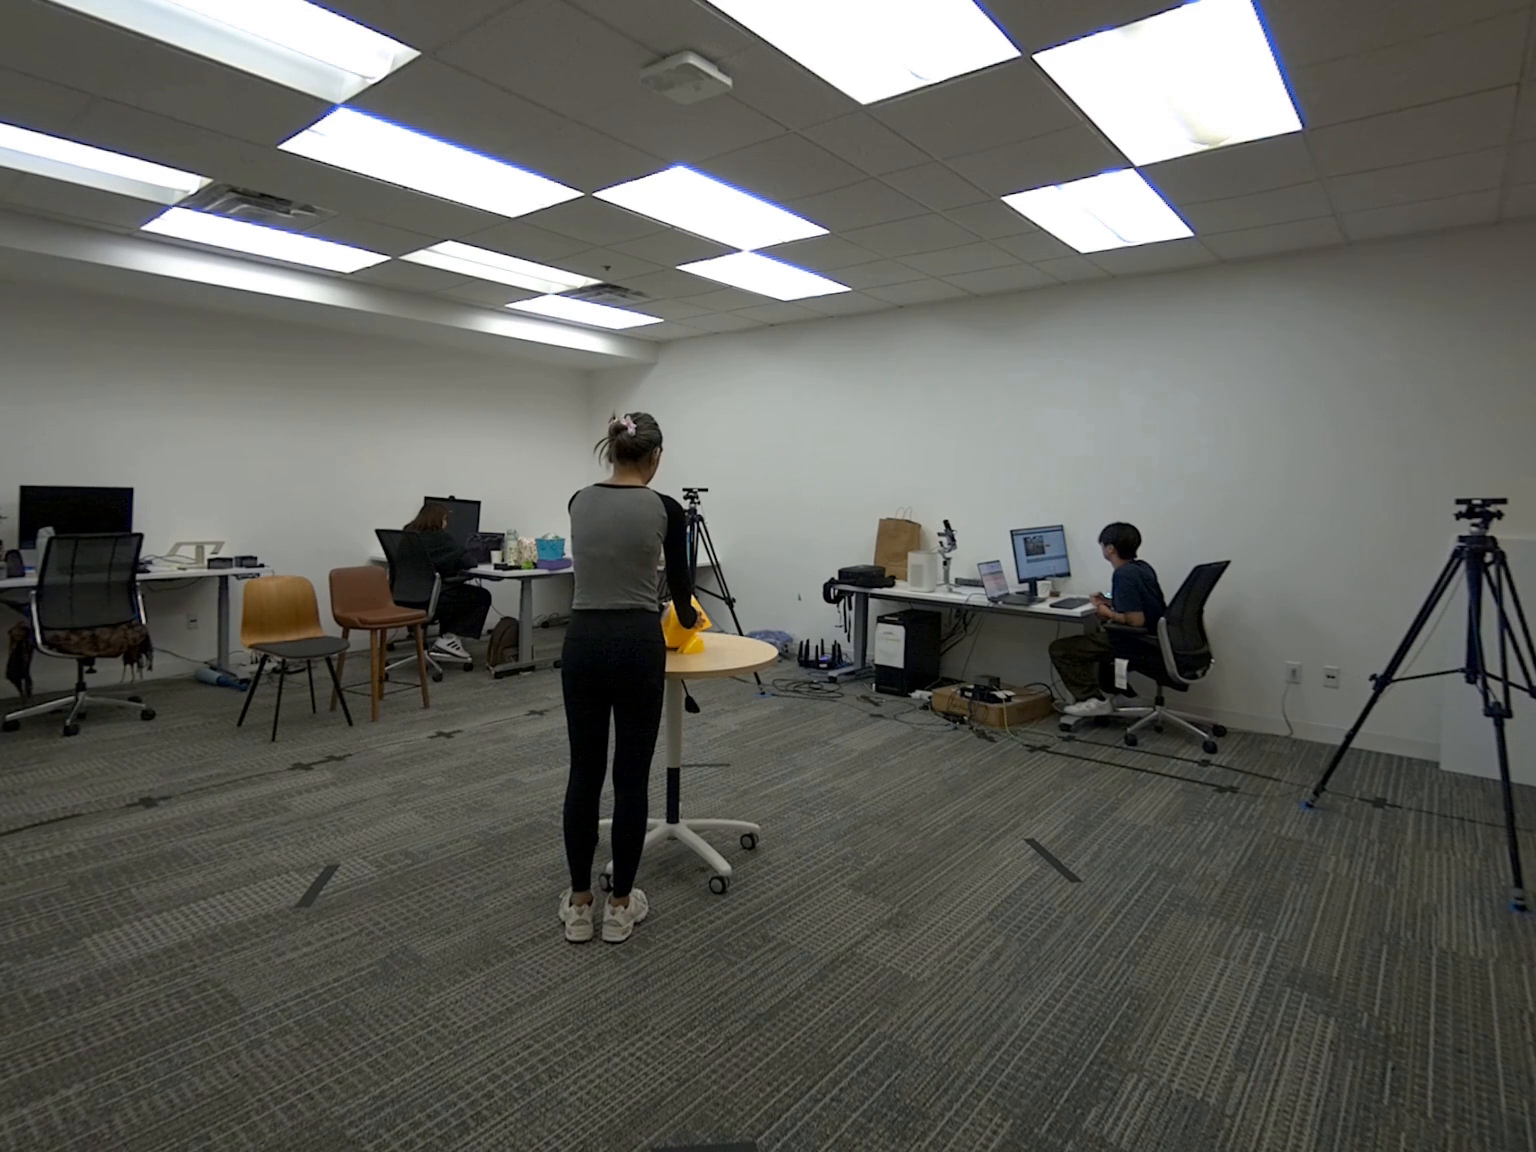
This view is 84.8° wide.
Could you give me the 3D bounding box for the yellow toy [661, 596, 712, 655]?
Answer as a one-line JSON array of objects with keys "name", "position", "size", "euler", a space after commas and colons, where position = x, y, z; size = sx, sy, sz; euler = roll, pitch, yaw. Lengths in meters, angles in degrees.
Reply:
[{"name": "yellow toy", "position": [-0.340, 0.155, 3.170], "size": [0.209, 0.230, 0.190], "euler": [2, 4, 17]}]
